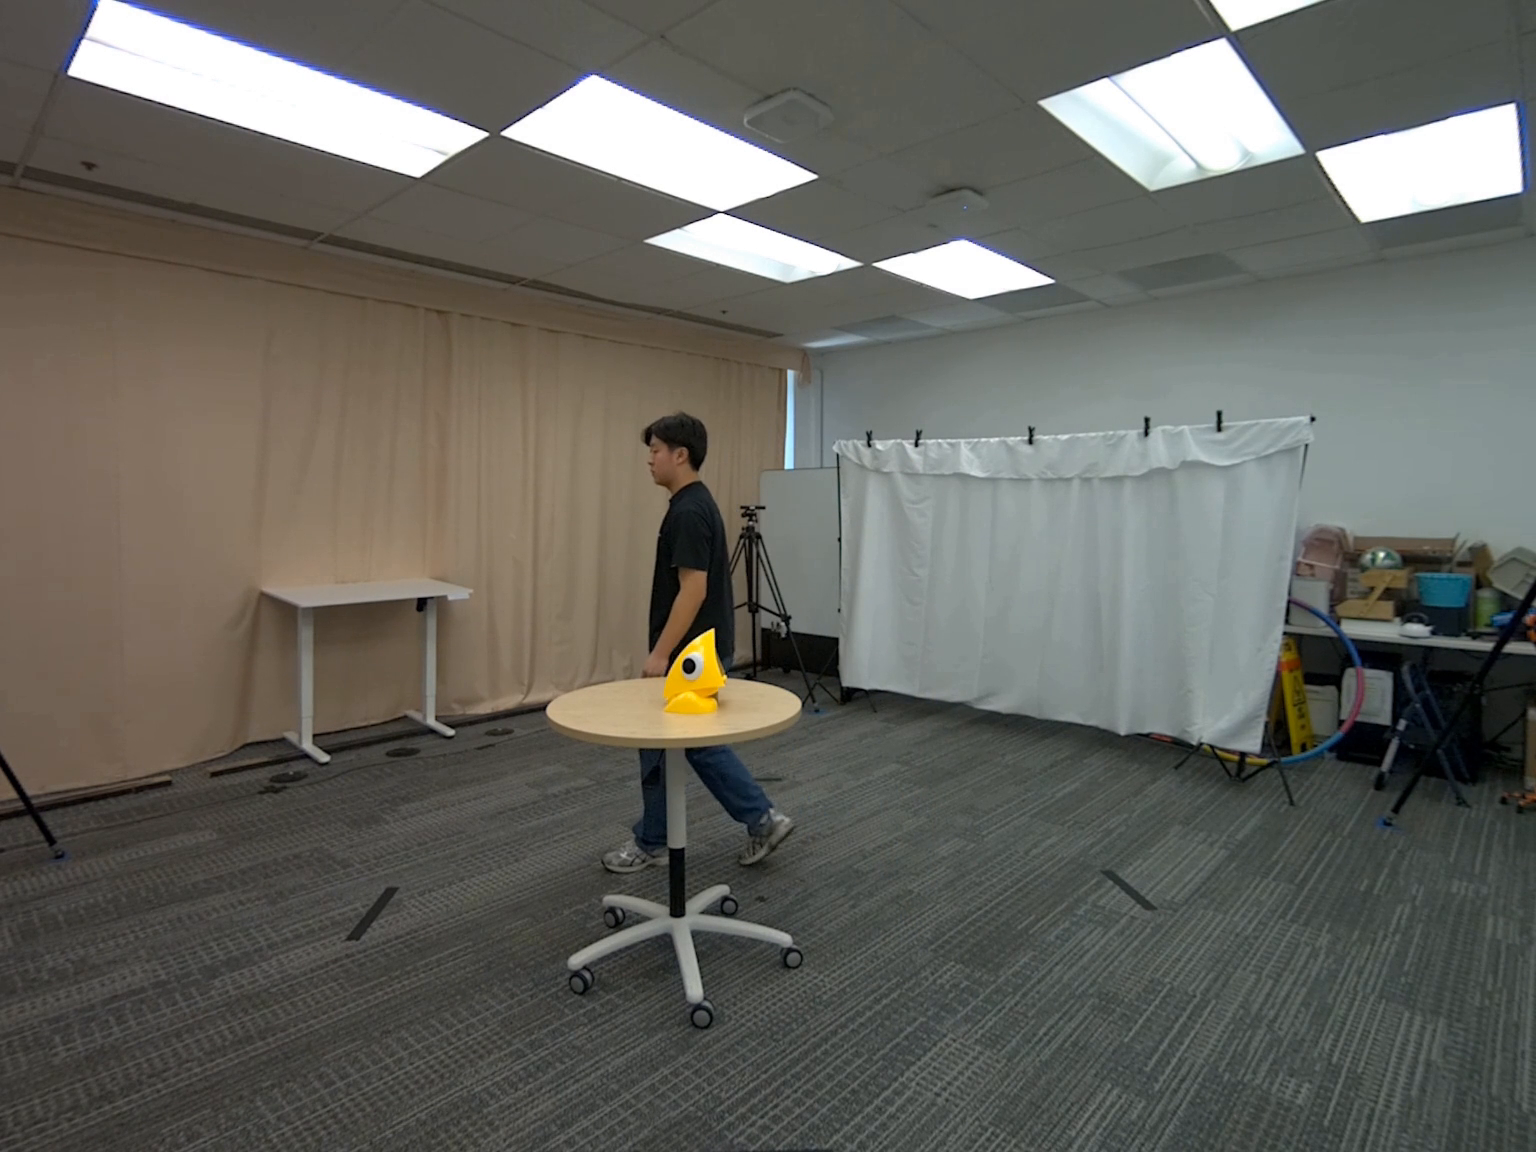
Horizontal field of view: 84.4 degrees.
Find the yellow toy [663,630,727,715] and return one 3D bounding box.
[{"bbox_3d":[-0.221,0.272,2.515,0.193,0.230,0.205,1,3,-2],"label":"yellow toy"}]
